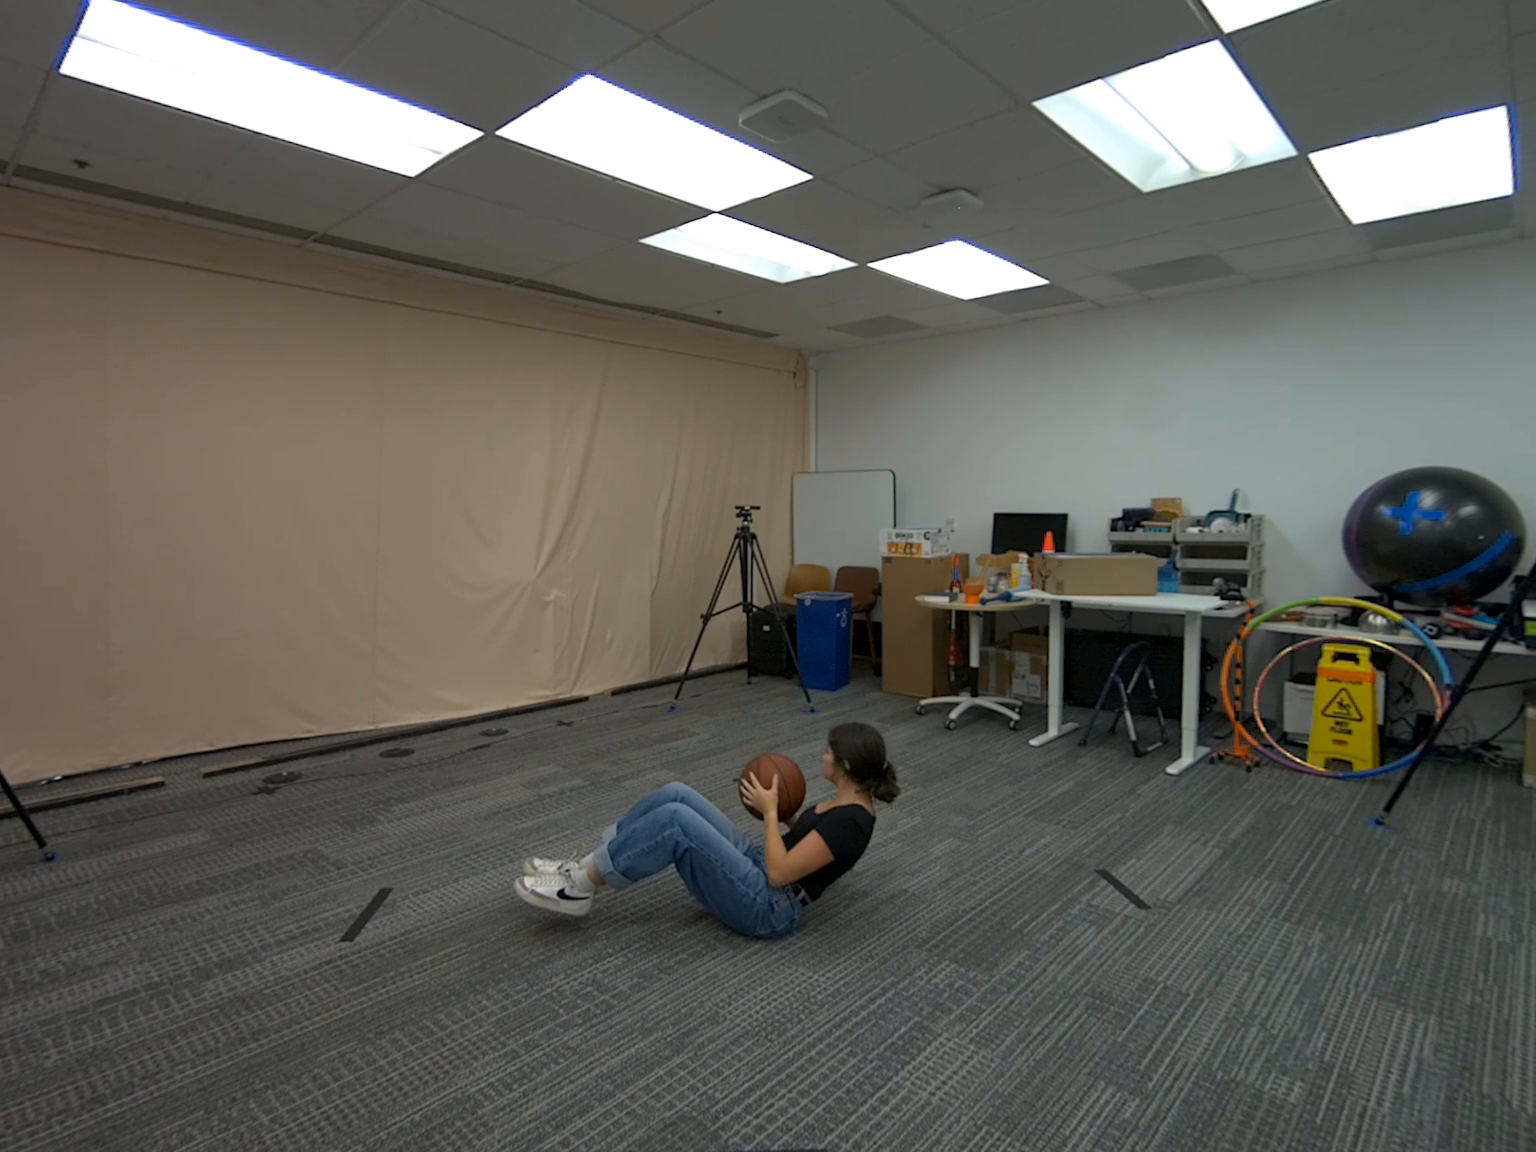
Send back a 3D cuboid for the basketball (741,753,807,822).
[{"bbox_3d":[0.024,0.760,2.989,0.236,0.235,0.237,0,4,-2],"label":"basketball"}]
